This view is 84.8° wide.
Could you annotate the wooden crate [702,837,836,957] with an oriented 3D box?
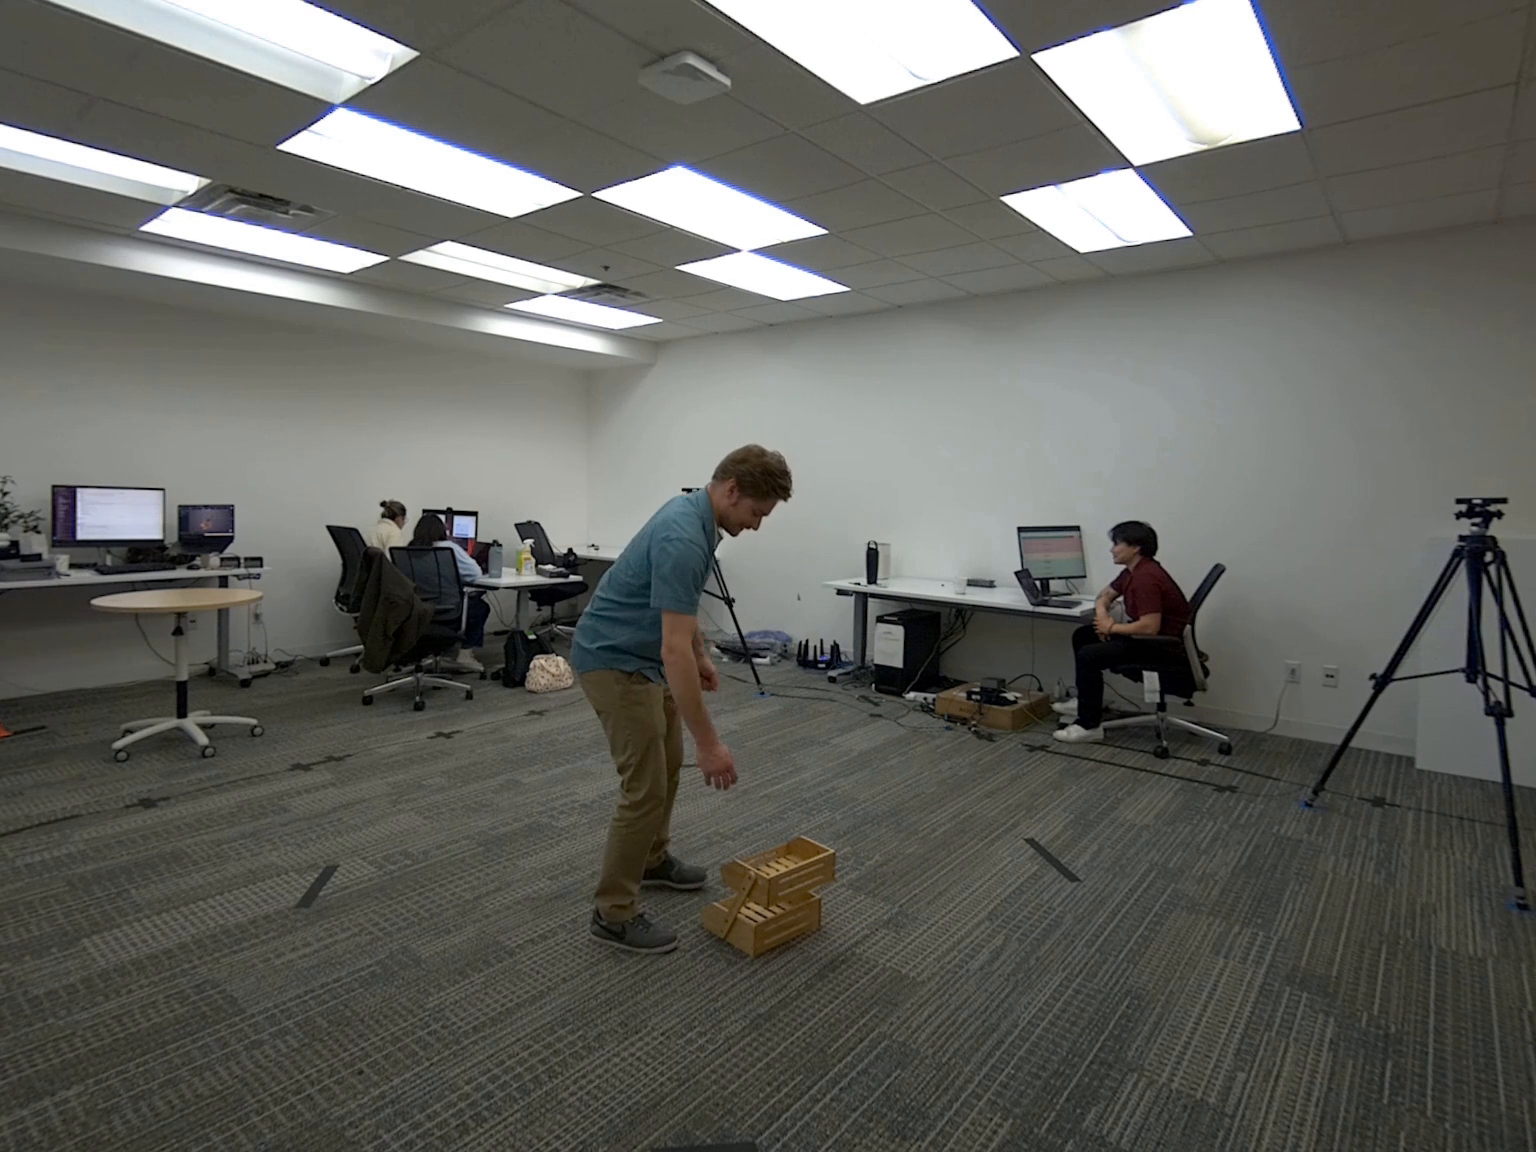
[{"bbox_3d":[-0.006,0.981,2.690,0.314,0.272,0.312,-3,7,-44],"label":"wooden crate"}]
